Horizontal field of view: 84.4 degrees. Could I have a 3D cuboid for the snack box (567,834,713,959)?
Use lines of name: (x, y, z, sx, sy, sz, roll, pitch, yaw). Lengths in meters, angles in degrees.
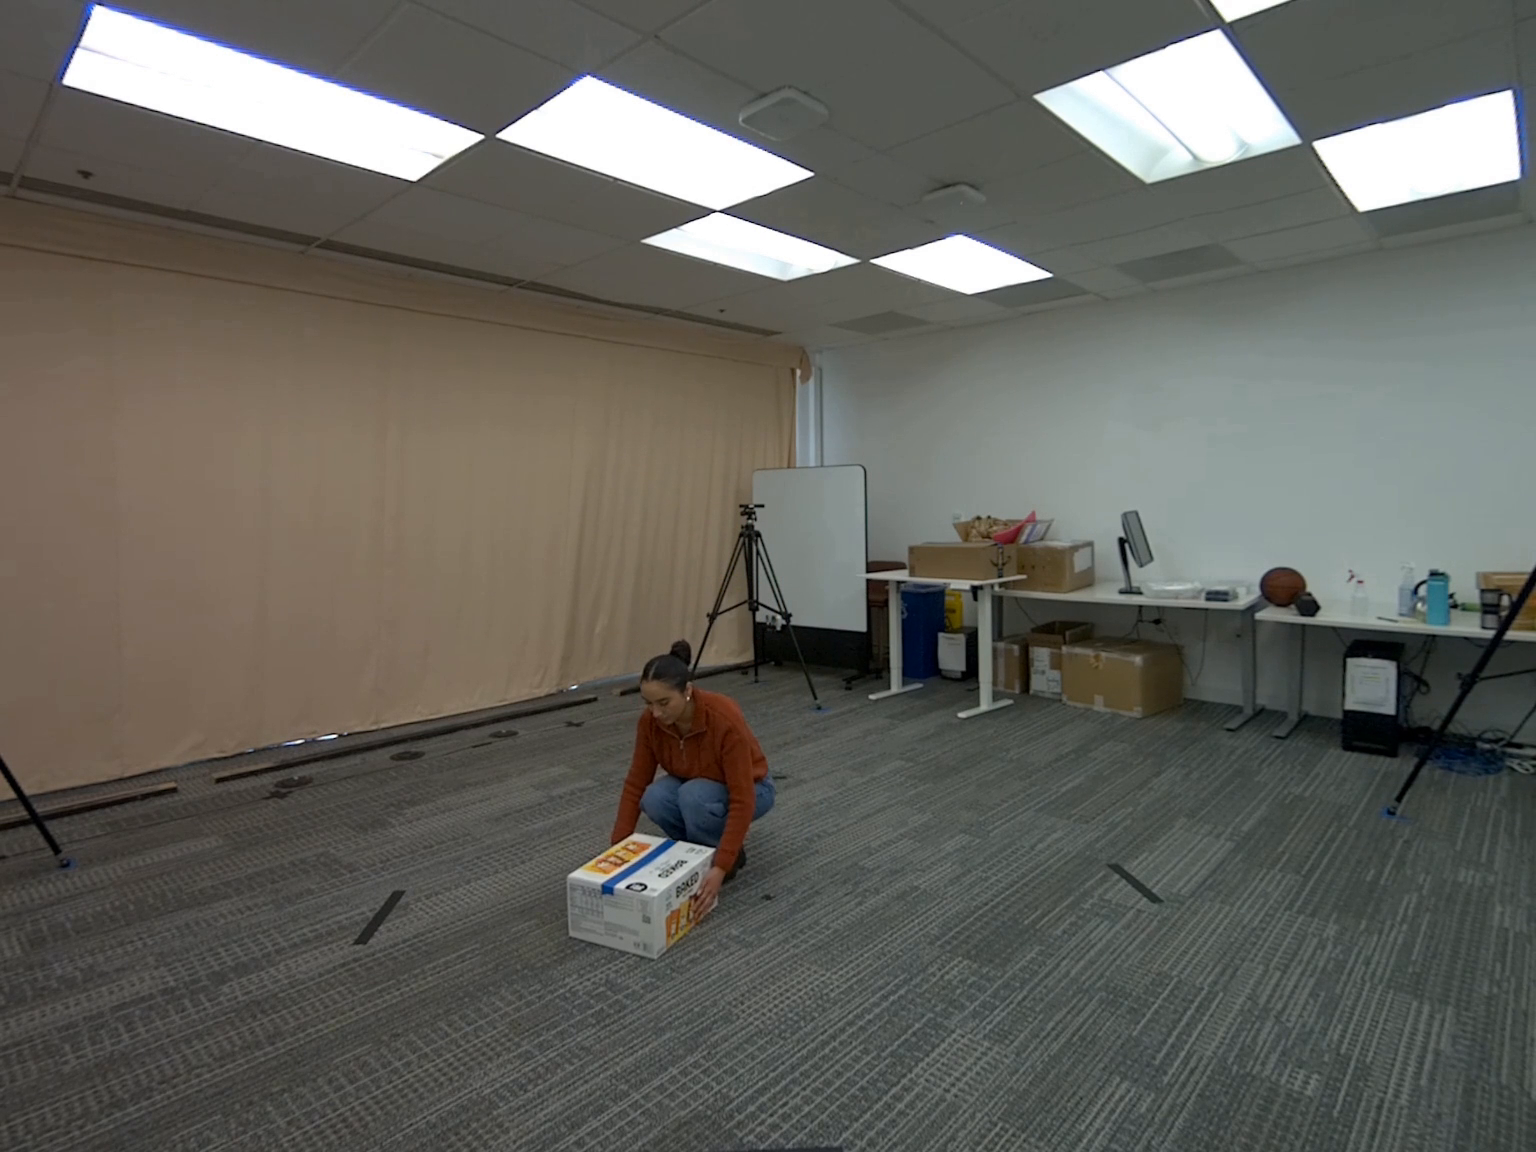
snack box: (-0.414, 1.053, 2.829, 0.349, 0.205, 0.396, 0, 5, 26)
